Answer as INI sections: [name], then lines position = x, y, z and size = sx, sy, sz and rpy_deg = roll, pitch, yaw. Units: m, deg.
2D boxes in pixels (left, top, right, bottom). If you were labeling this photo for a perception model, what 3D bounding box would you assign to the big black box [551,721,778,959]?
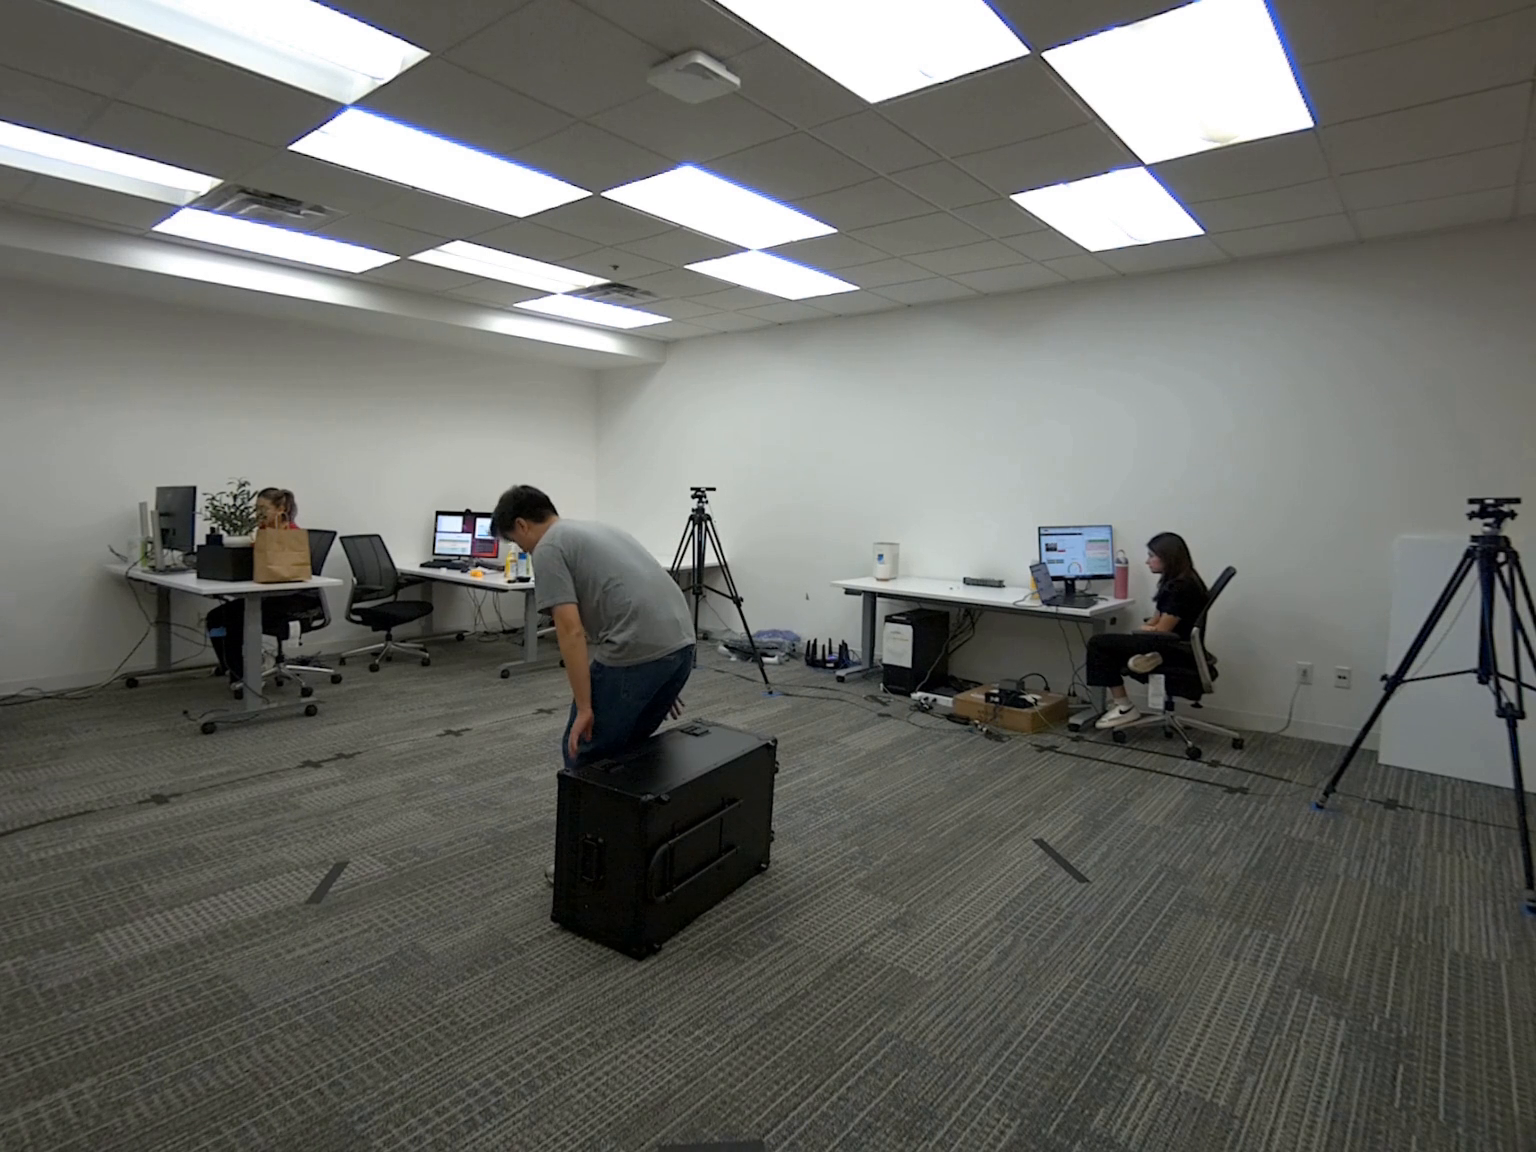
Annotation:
[big black box]
position = -0.305, 0.827, 2.905
size = 0.408, 0.519, 0.840
rpy_deg = 6, 6, 29
